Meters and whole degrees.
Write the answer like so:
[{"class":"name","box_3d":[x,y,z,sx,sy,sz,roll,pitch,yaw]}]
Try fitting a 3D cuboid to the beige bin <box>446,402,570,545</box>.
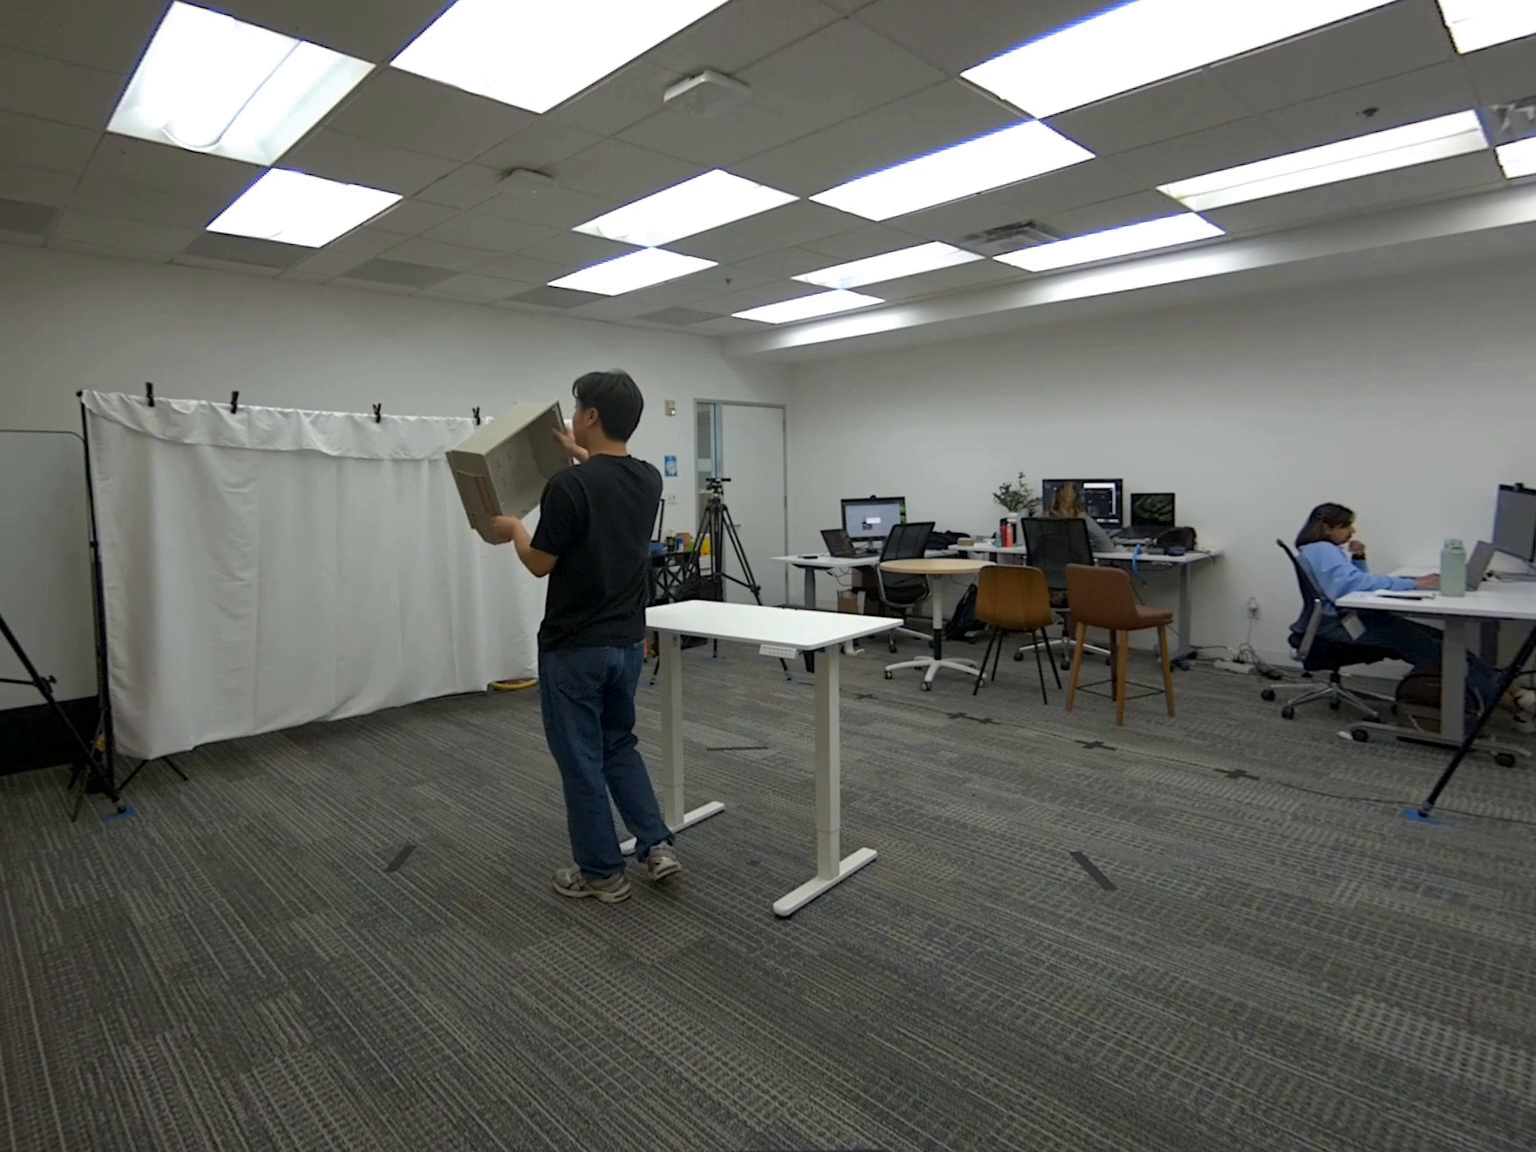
[{"class":"beige bin","box_3d":[-0.884,-0.375,3.055,0.194,0.366,0.424,9,39,24]}]
